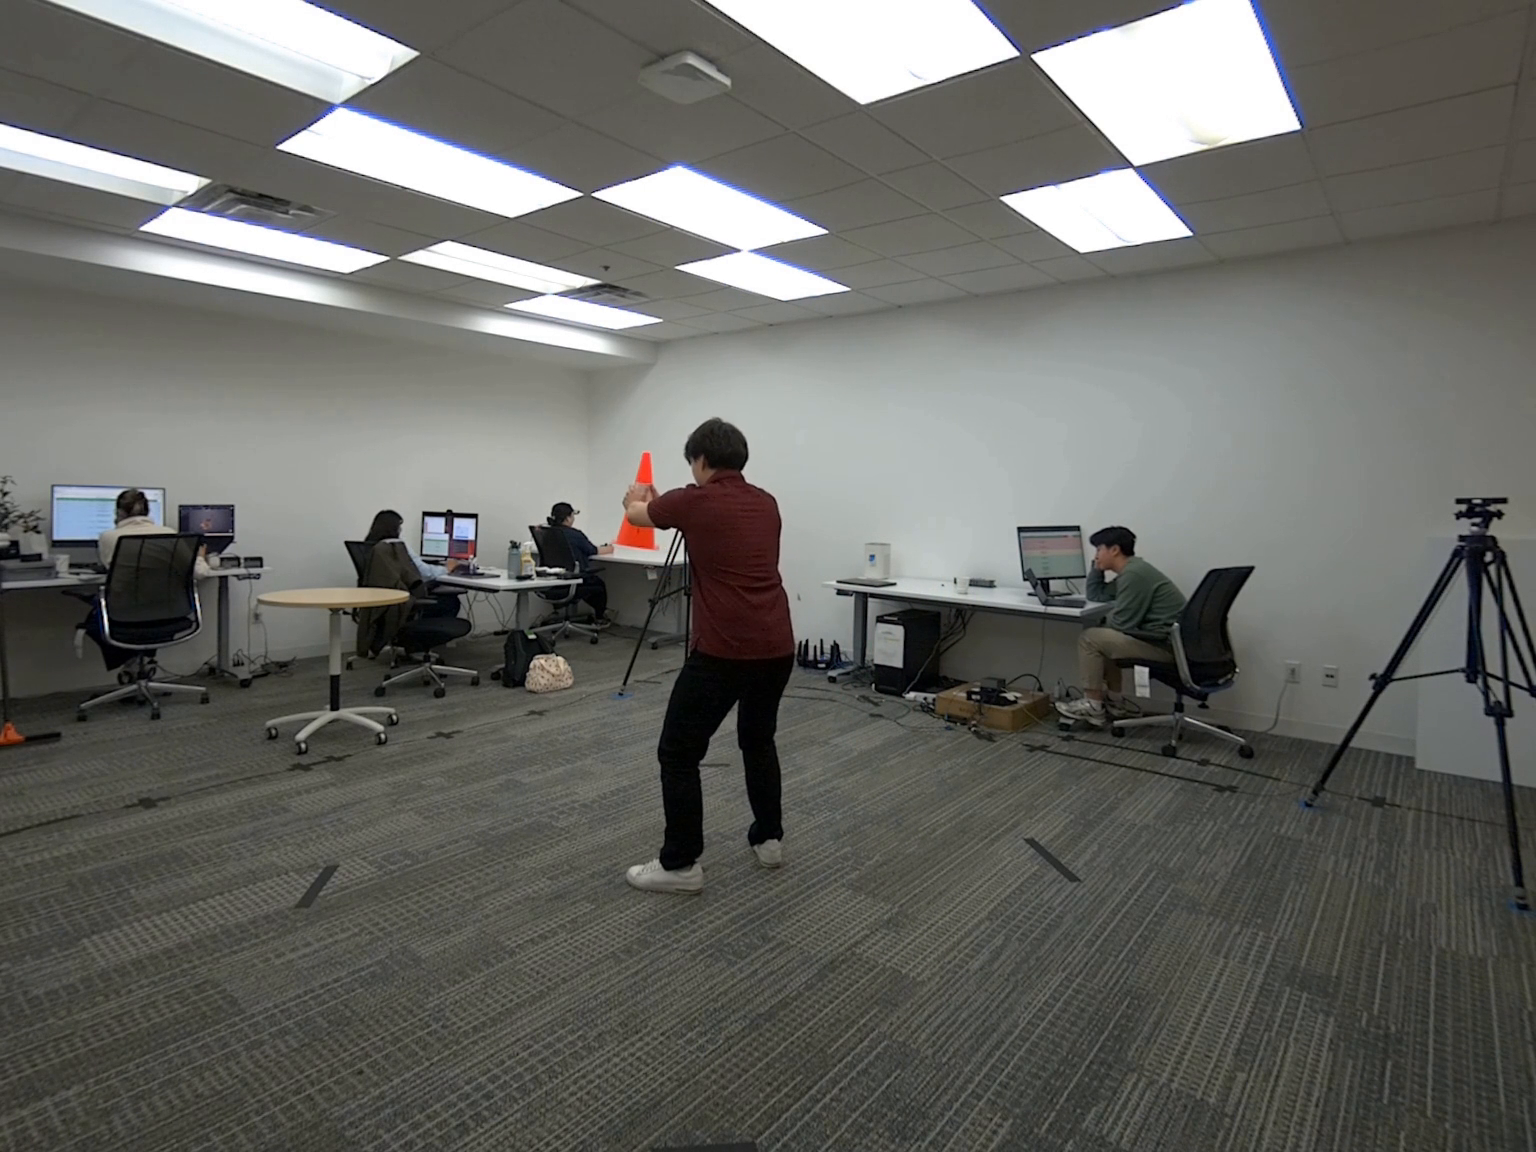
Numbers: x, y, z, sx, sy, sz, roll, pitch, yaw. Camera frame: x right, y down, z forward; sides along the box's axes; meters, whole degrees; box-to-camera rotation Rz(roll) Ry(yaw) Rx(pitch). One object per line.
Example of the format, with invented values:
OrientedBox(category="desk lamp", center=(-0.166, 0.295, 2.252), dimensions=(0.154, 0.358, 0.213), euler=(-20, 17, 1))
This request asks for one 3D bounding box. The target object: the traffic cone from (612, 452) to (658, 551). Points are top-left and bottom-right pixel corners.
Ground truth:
OrientedBox(category="traffic cone", center=(-0.534, -0.309, 3.470), dimensions=(0.197, 0.382, 0.213), euler=(3, 7, -43))
